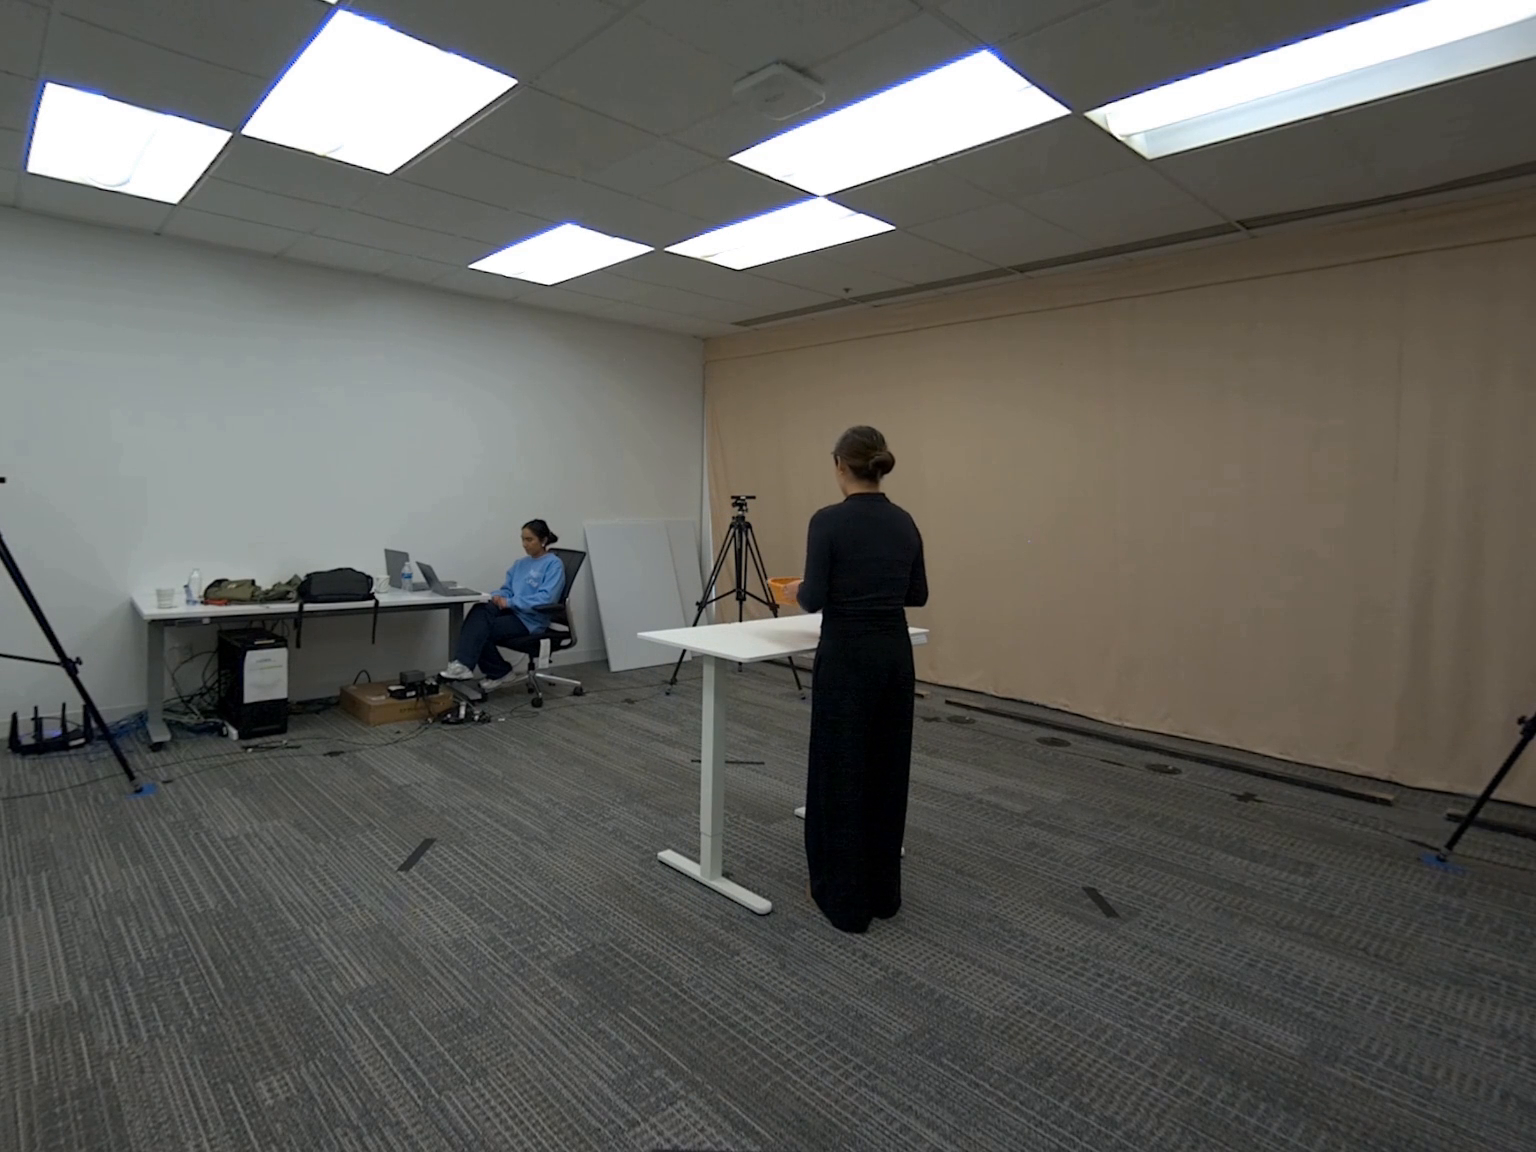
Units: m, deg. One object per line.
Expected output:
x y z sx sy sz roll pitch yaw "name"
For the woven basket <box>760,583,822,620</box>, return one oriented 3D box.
0.171 0.085 3.089 0.247 0.073 0.359 -3 8 -31 "woven basket"
